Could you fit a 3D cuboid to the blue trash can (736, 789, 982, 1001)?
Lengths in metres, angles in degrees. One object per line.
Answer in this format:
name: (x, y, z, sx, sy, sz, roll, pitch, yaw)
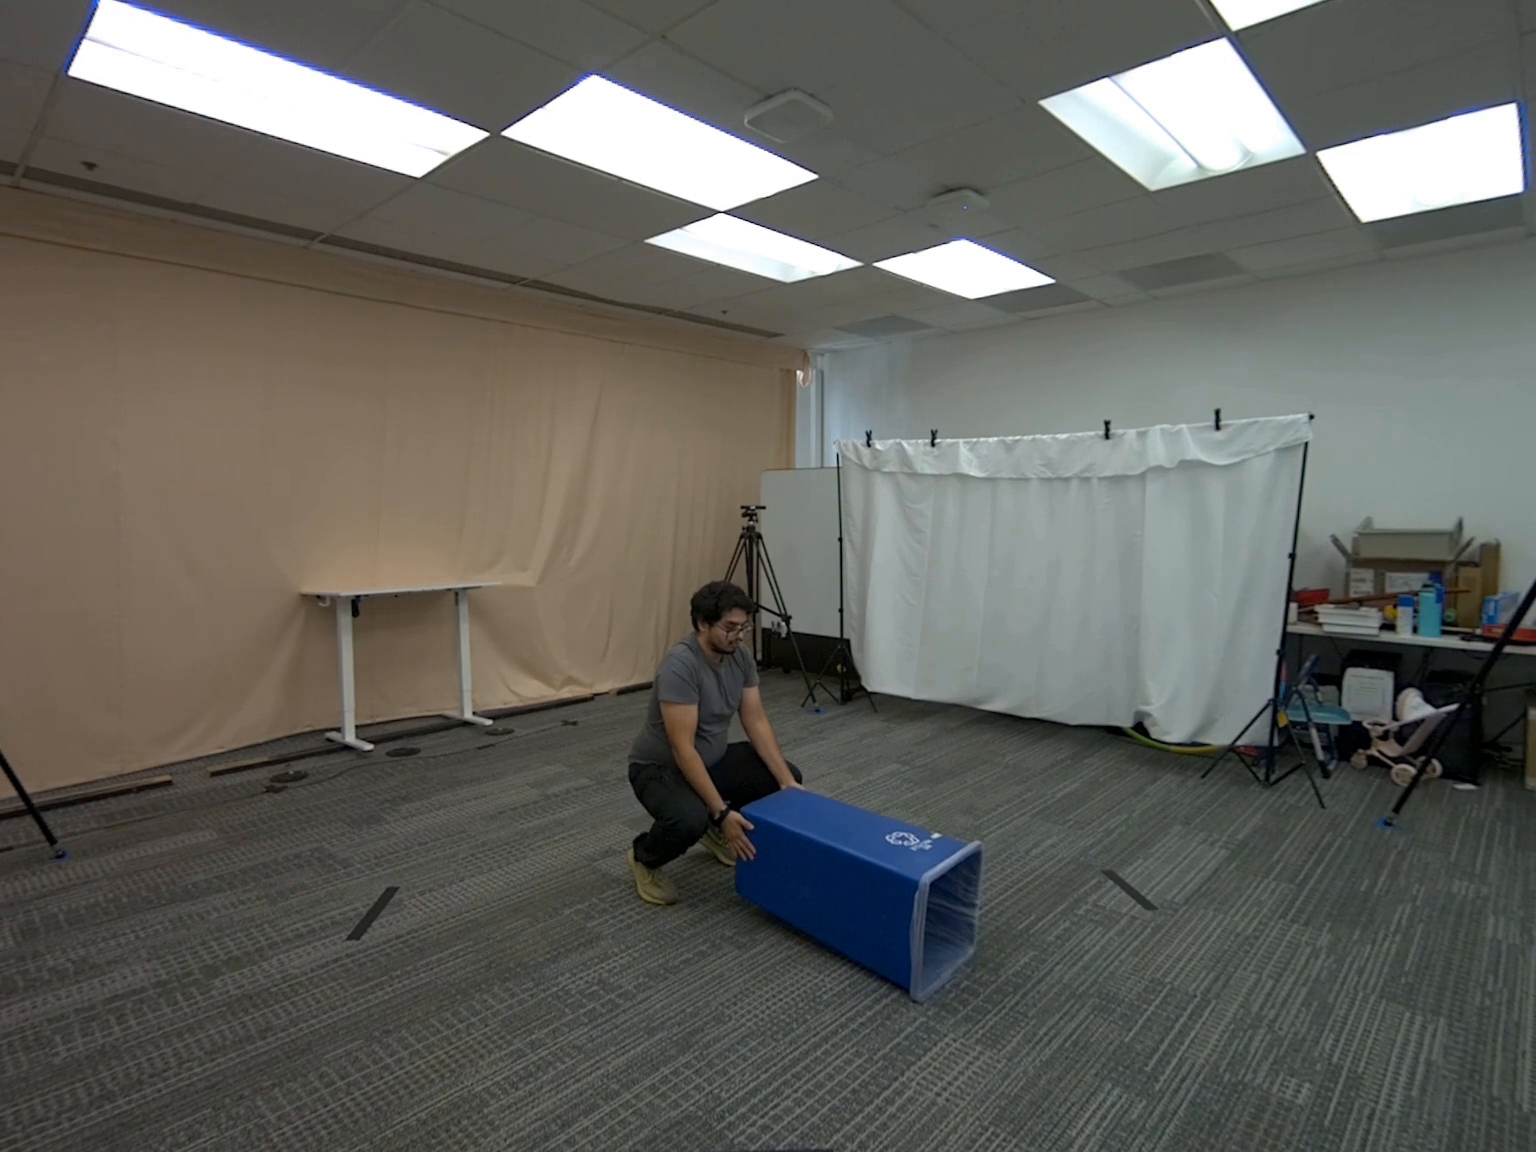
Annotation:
blue trash can: (0.272, 0.968, 2.691, 0.738, 0.377, 0.363, 7, 8, 41)
